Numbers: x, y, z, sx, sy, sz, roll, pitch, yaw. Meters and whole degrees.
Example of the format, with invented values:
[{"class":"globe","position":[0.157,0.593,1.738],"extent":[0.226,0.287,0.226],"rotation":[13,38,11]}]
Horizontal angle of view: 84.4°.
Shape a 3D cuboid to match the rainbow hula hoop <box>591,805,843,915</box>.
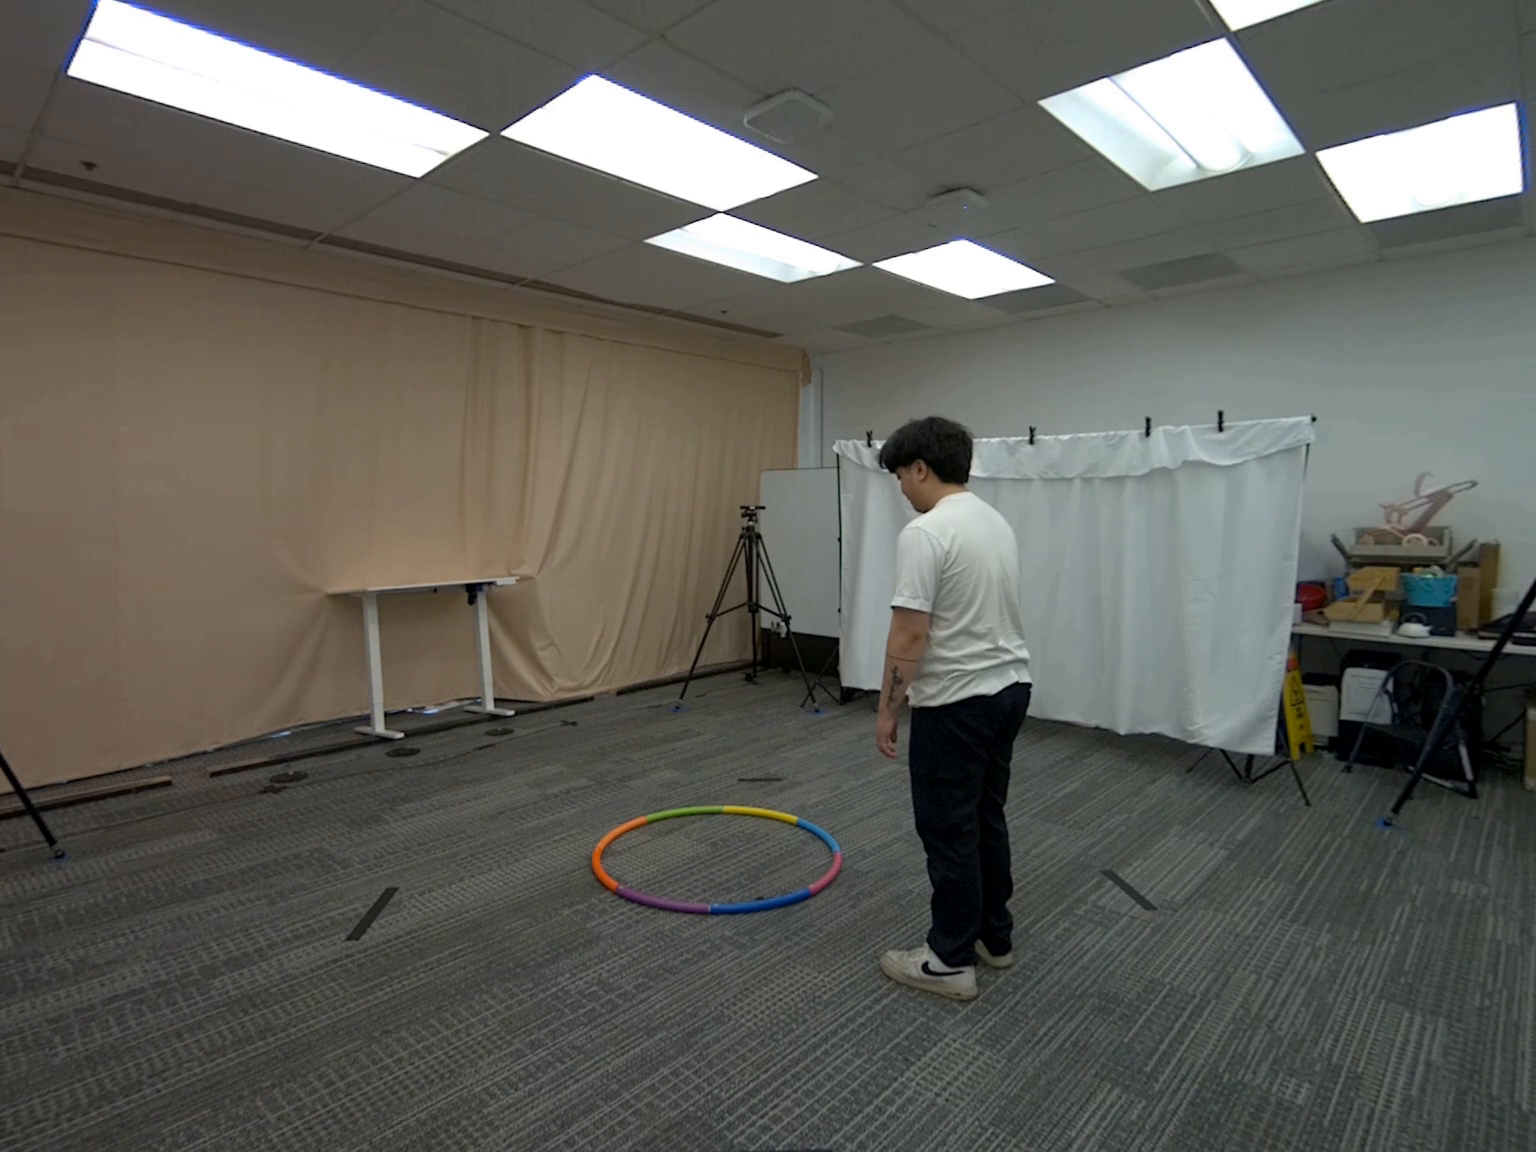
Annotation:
[{"class":"rainbow hula hoop","position":[-0.203,1.088,3.348],"extent":[0.984,0.051,0.989],"rotation":[0,5,-2]}]
